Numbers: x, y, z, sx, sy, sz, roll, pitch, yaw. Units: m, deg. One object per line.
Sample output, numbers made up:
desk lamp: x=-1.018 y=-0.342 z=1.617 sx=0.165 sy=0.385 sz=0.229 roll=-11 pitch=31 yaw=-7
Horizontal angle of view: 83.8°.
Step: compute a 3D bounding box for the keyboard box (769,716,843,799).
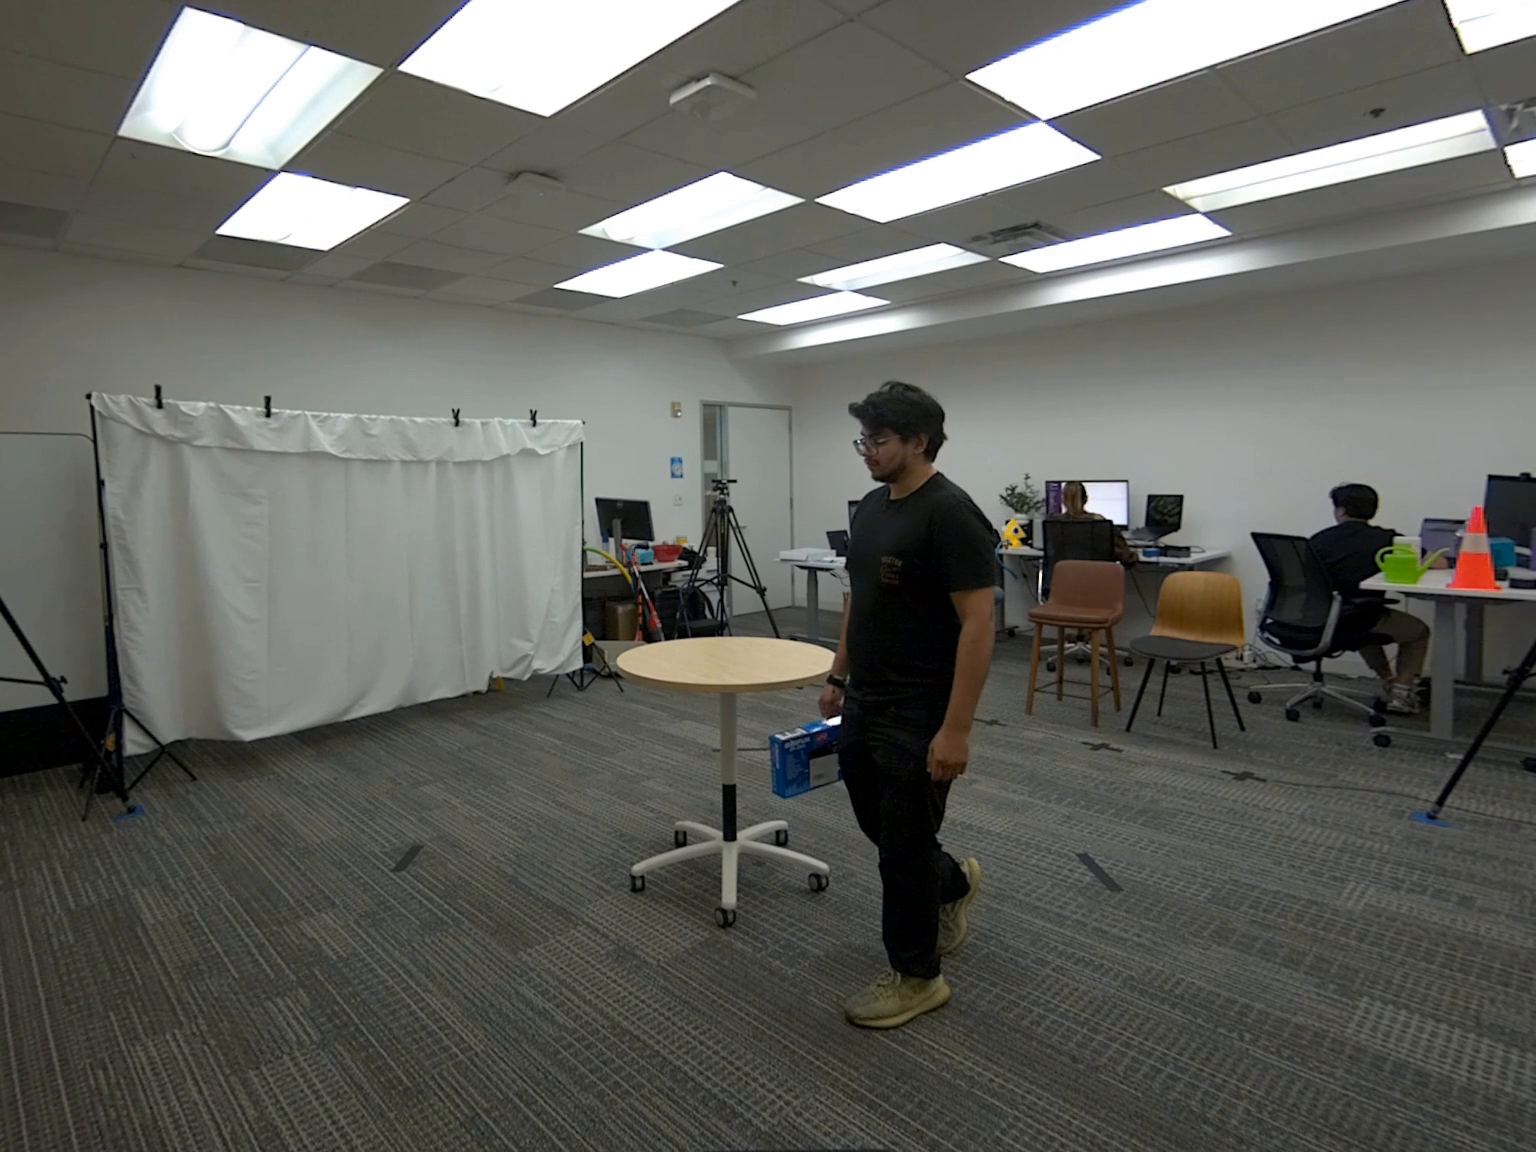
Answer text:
keyboard box: x=0.209 y=0.513 z=2.523 sx=0.427 sy=0.175 sz=0.061 roll=-9 pitch=7 yaw=-31
